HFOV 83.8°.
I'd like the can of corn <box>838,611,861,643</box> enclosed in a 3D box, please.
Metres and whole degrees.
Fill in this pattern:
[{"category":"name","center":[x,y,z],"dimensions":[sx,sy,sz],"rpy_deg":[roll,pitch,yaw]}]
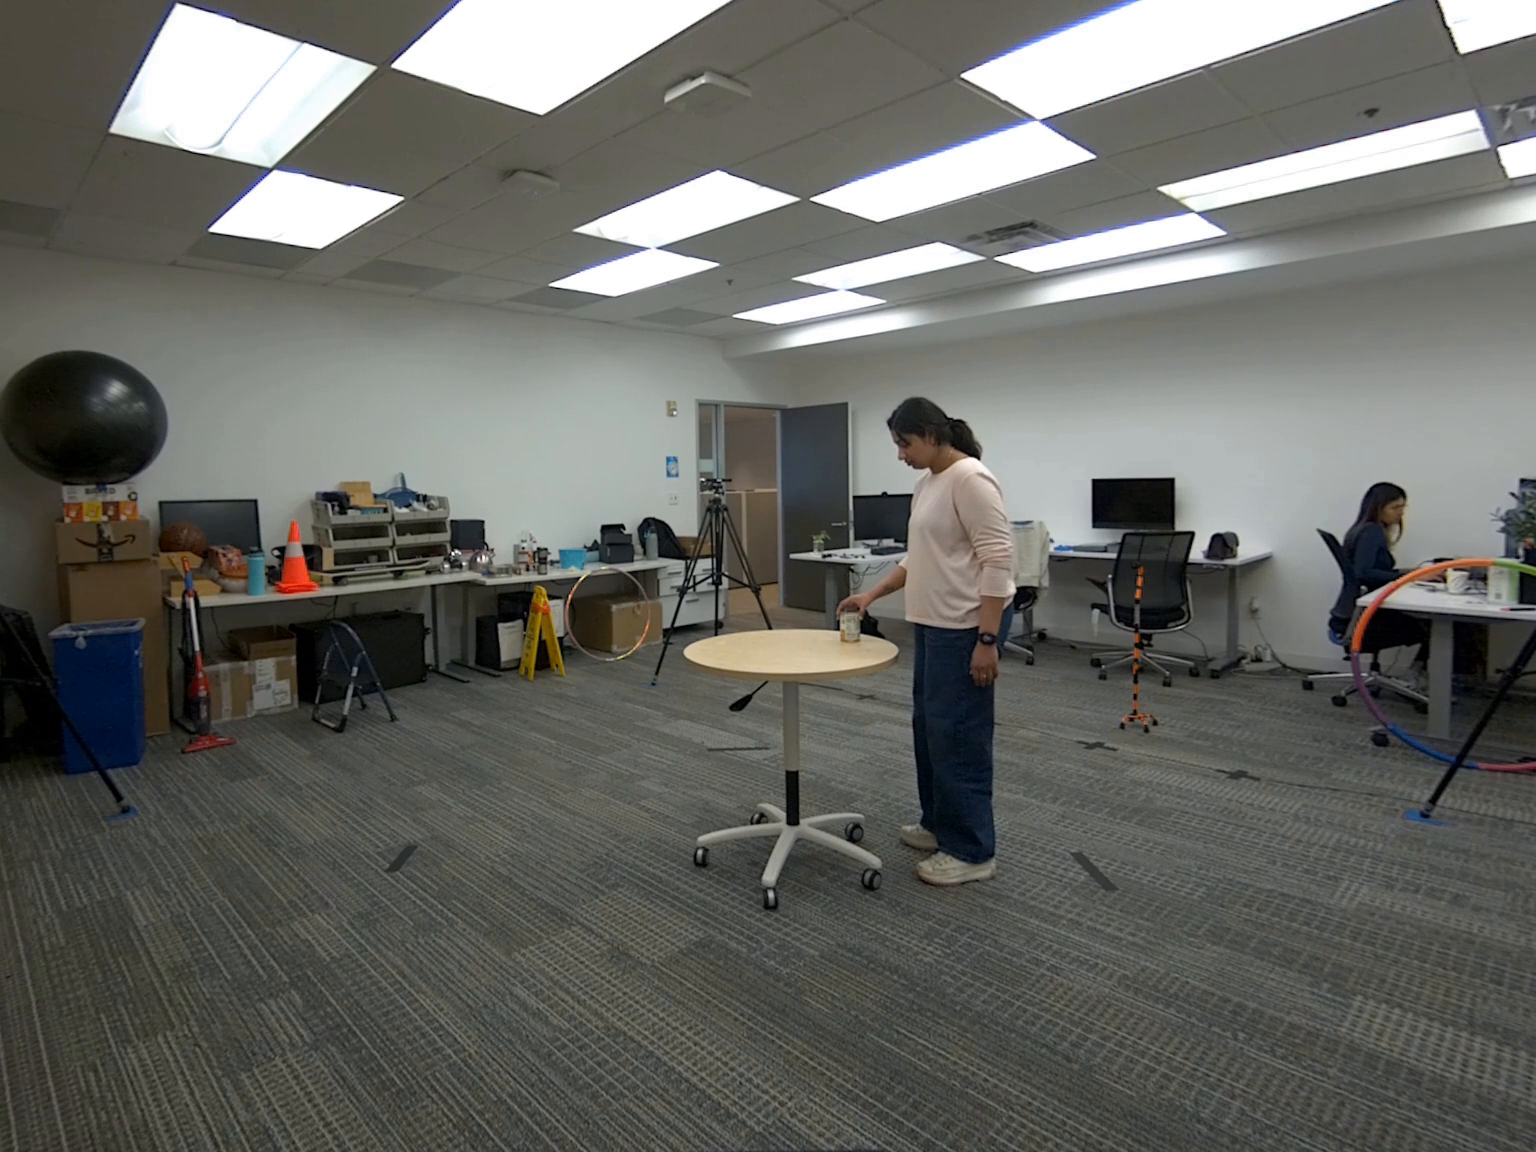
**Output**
[{"category":"can of corn","center":[0.309,0.184,3.191],"dimensions":[0.074,0.110,0.075],"rpy_deg":[-1,6,-2]}]
